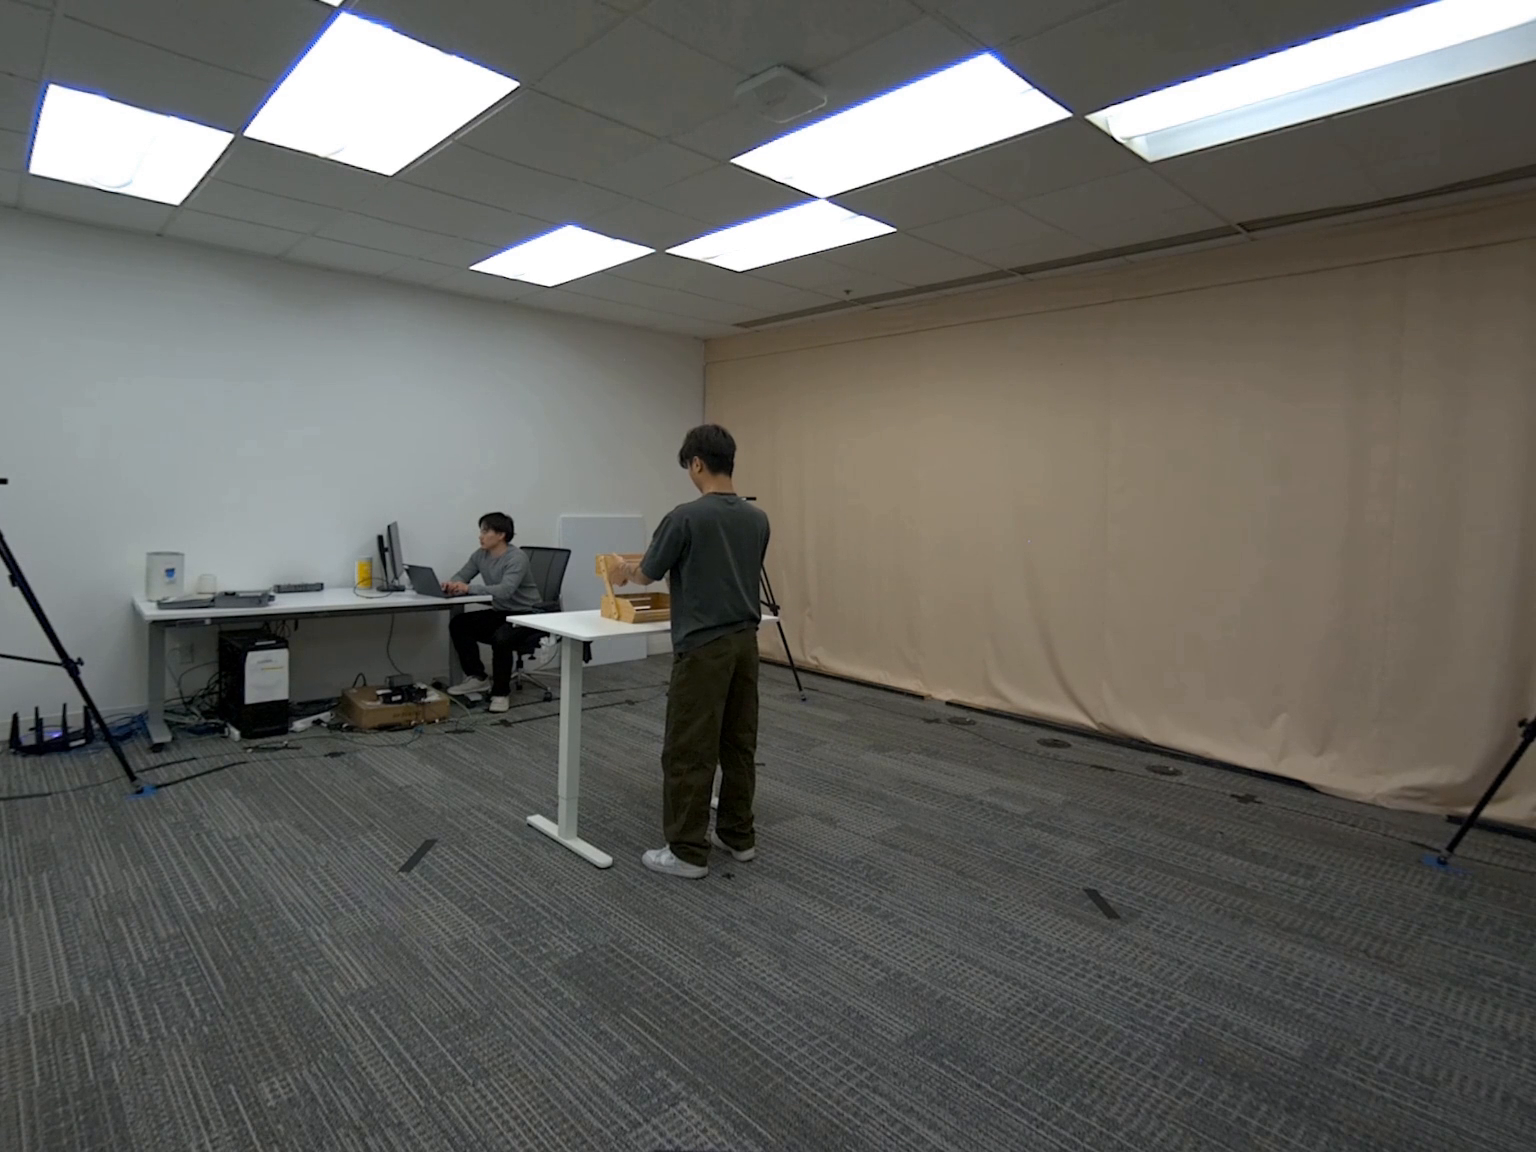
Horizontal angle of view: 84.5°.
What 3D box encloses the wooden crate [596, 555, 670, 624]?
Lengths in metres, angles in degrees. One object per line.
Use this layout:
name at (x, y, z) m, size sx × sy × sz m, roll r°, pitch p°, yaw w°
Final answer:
wooden crate at (-0.532, 0.041, 3.562) m, size 0.317 × 0.273 × 0.310 m, roll -1°, pitch 4°, yaw -43°
